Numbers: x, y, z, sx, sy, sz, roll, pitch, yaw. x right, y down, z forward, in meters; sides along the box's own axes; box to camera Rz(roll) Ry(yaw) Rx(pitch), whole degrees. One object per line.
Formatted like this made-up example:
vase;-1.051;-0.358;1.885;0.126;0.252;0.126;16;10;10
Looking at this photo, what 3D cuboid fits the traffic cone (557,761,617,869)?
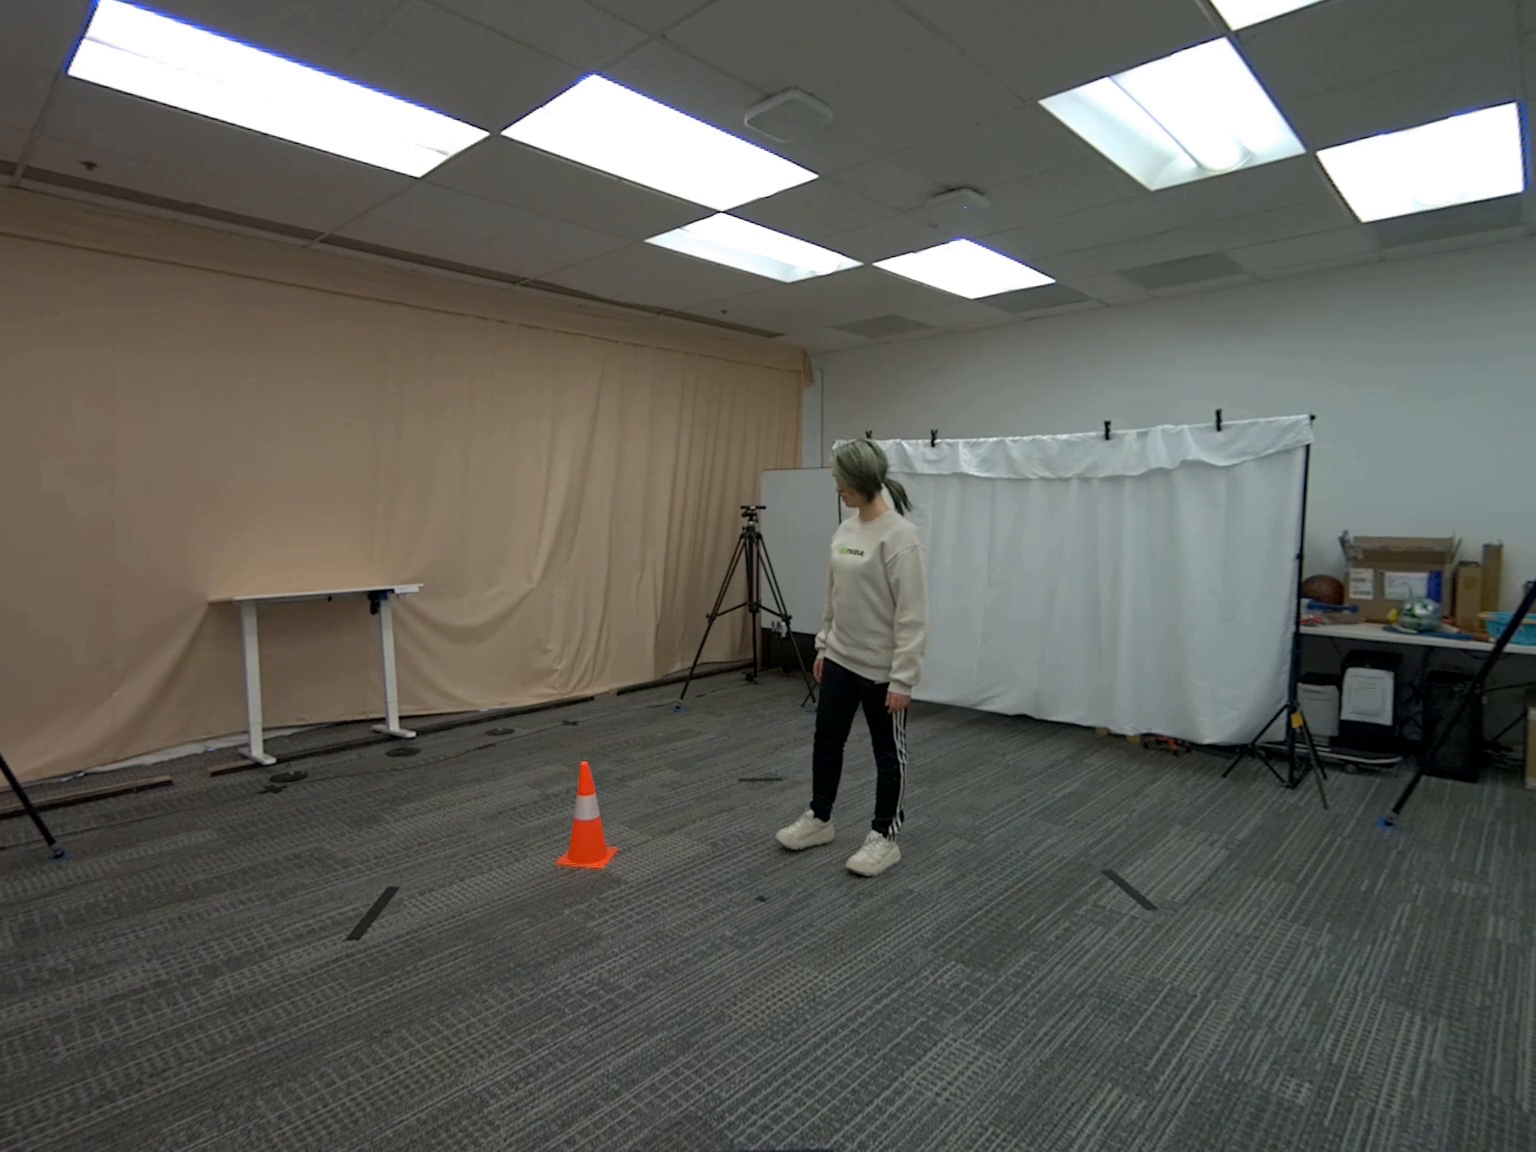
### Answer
traffic cone;-0.728;0.936;3.351;0.207;0.383;0.201;-1;3;10
